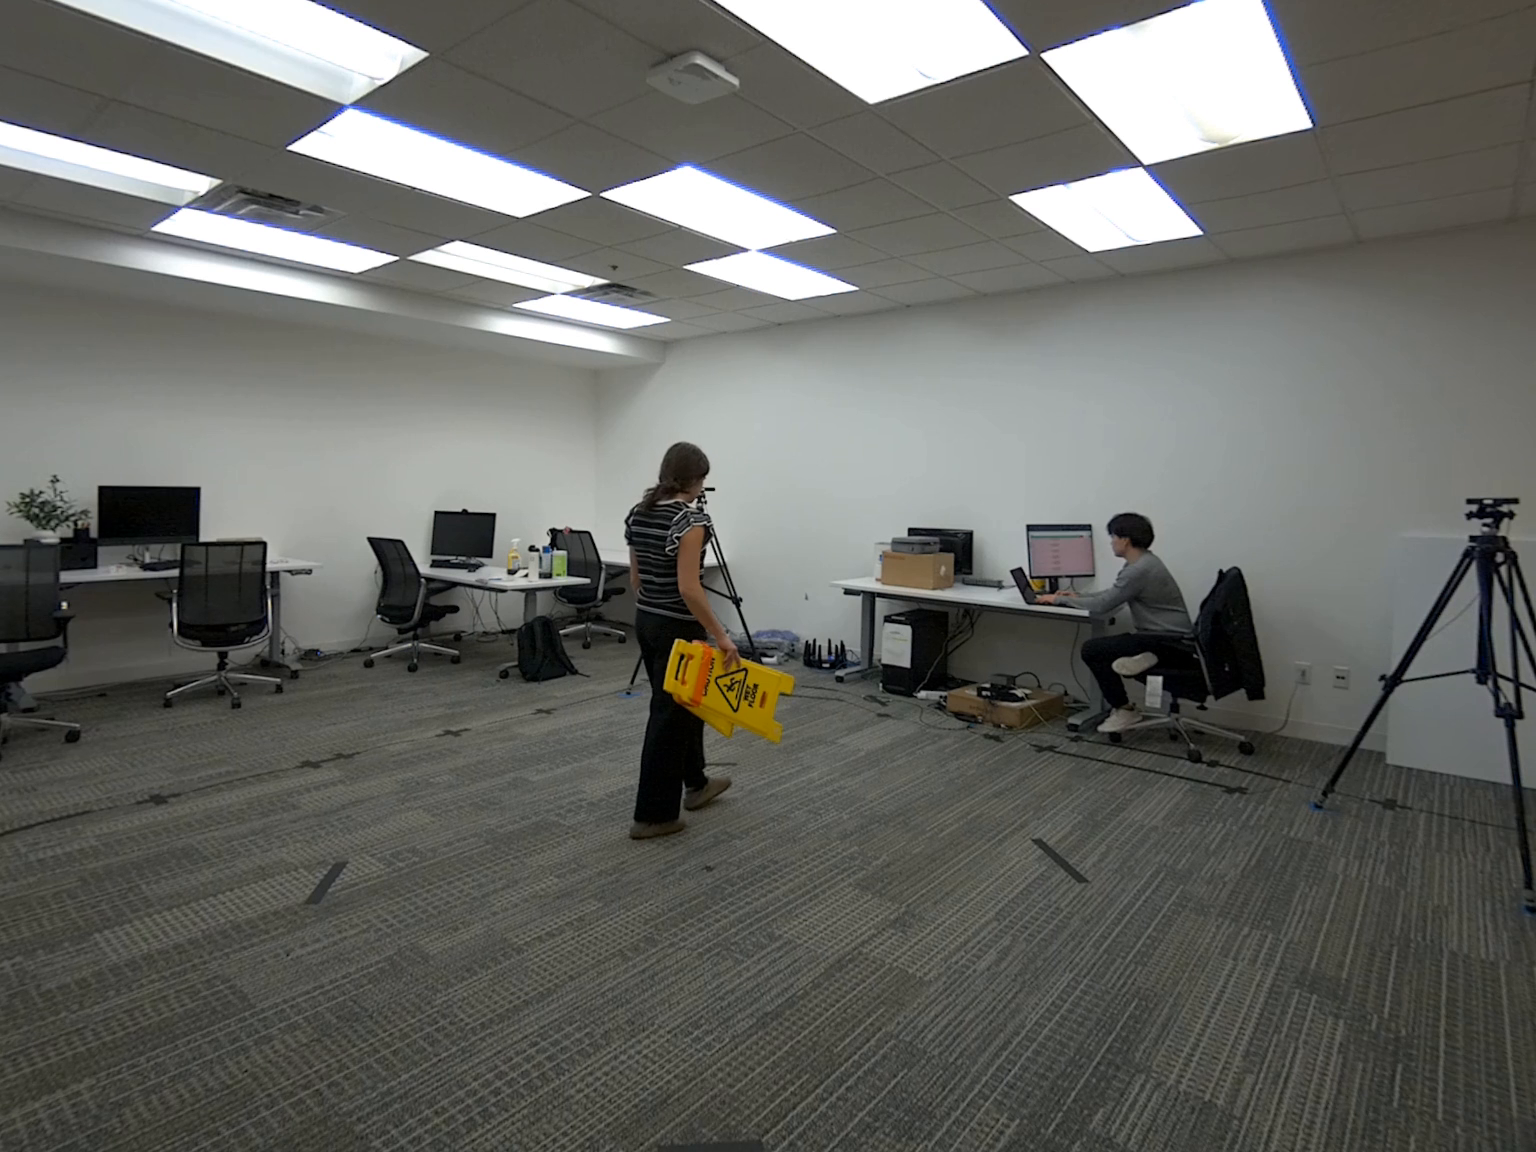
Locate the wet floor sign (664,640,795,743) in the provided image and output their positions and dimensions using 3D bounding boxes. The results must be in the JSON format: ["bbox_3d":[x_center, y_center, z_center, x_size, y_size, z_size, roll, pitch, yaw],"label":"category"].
[{"bbox_3d":[-0.196,0.437,3.352,0.298,0.286,0.619,-1,-23,35],"label":"wet floor sign"}]
